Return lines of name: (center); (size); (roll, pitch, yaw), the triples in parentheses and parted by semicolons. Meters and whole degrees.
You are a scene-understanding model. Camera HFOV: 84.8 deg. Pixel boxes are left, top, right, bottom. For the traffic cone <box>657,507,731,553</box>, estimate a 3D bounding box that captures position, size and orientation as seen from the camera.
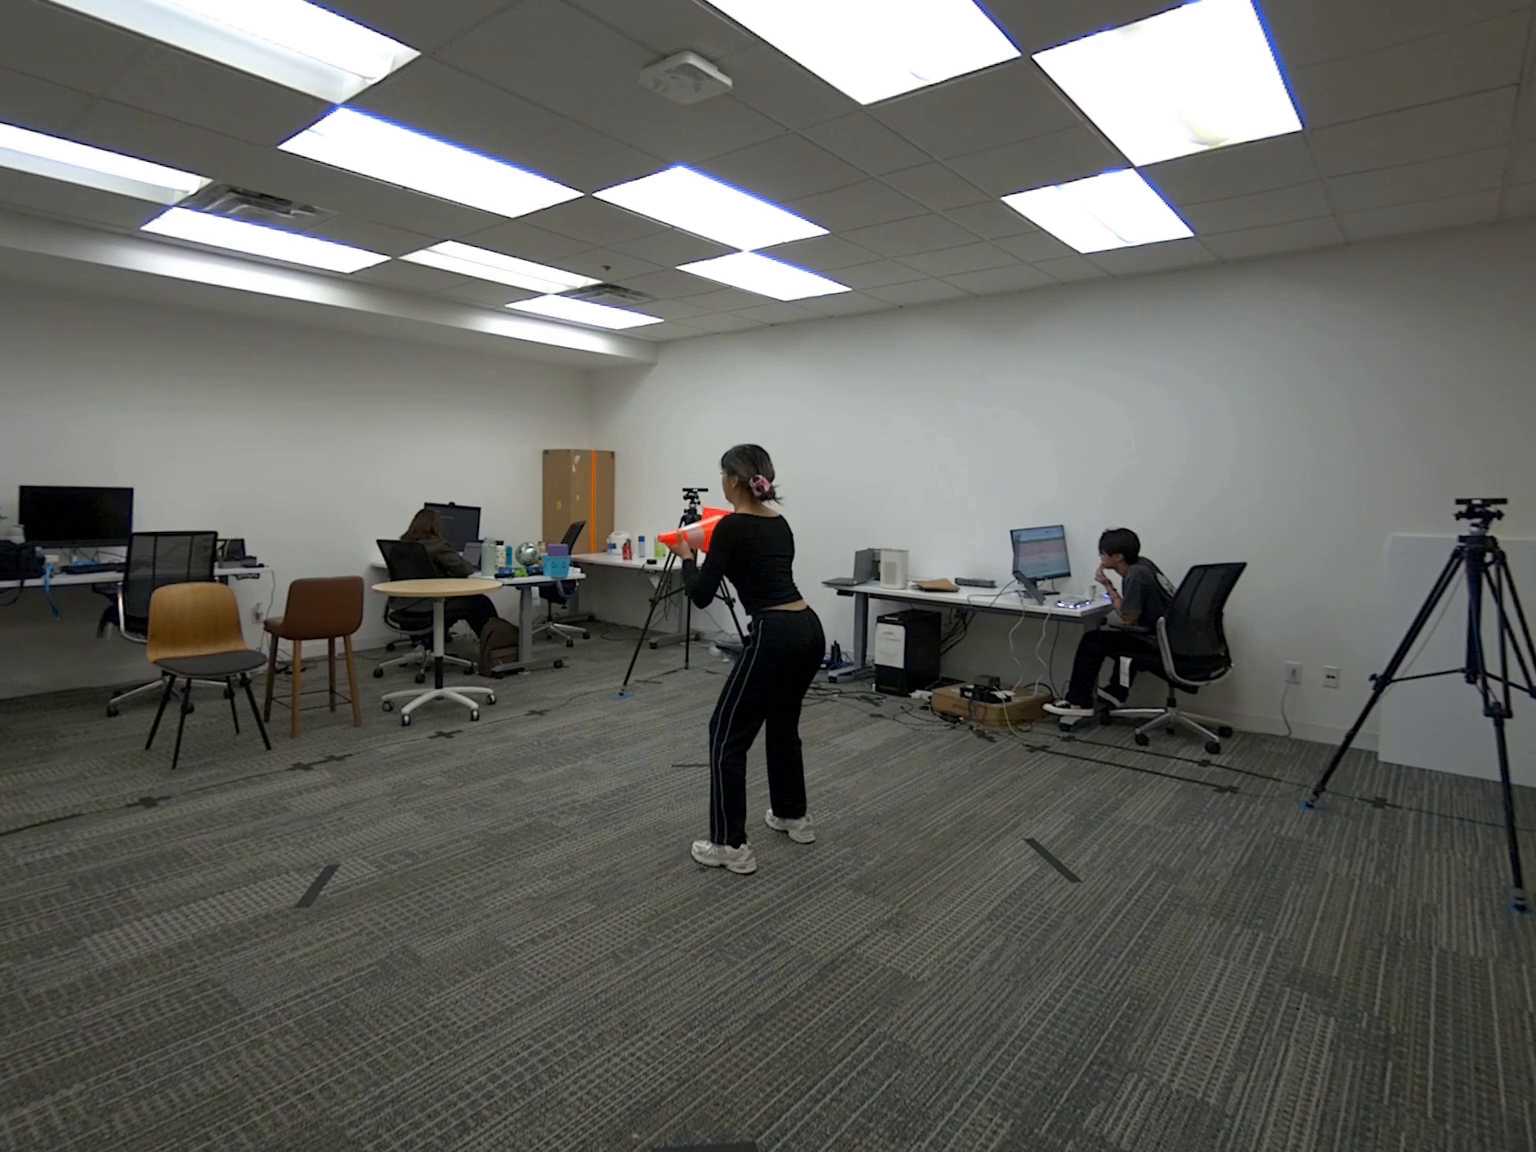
traffic cone: (-0.318, -0.165, 3.447); (0.210, 0.203, 0.373); (10, 11, 36)
